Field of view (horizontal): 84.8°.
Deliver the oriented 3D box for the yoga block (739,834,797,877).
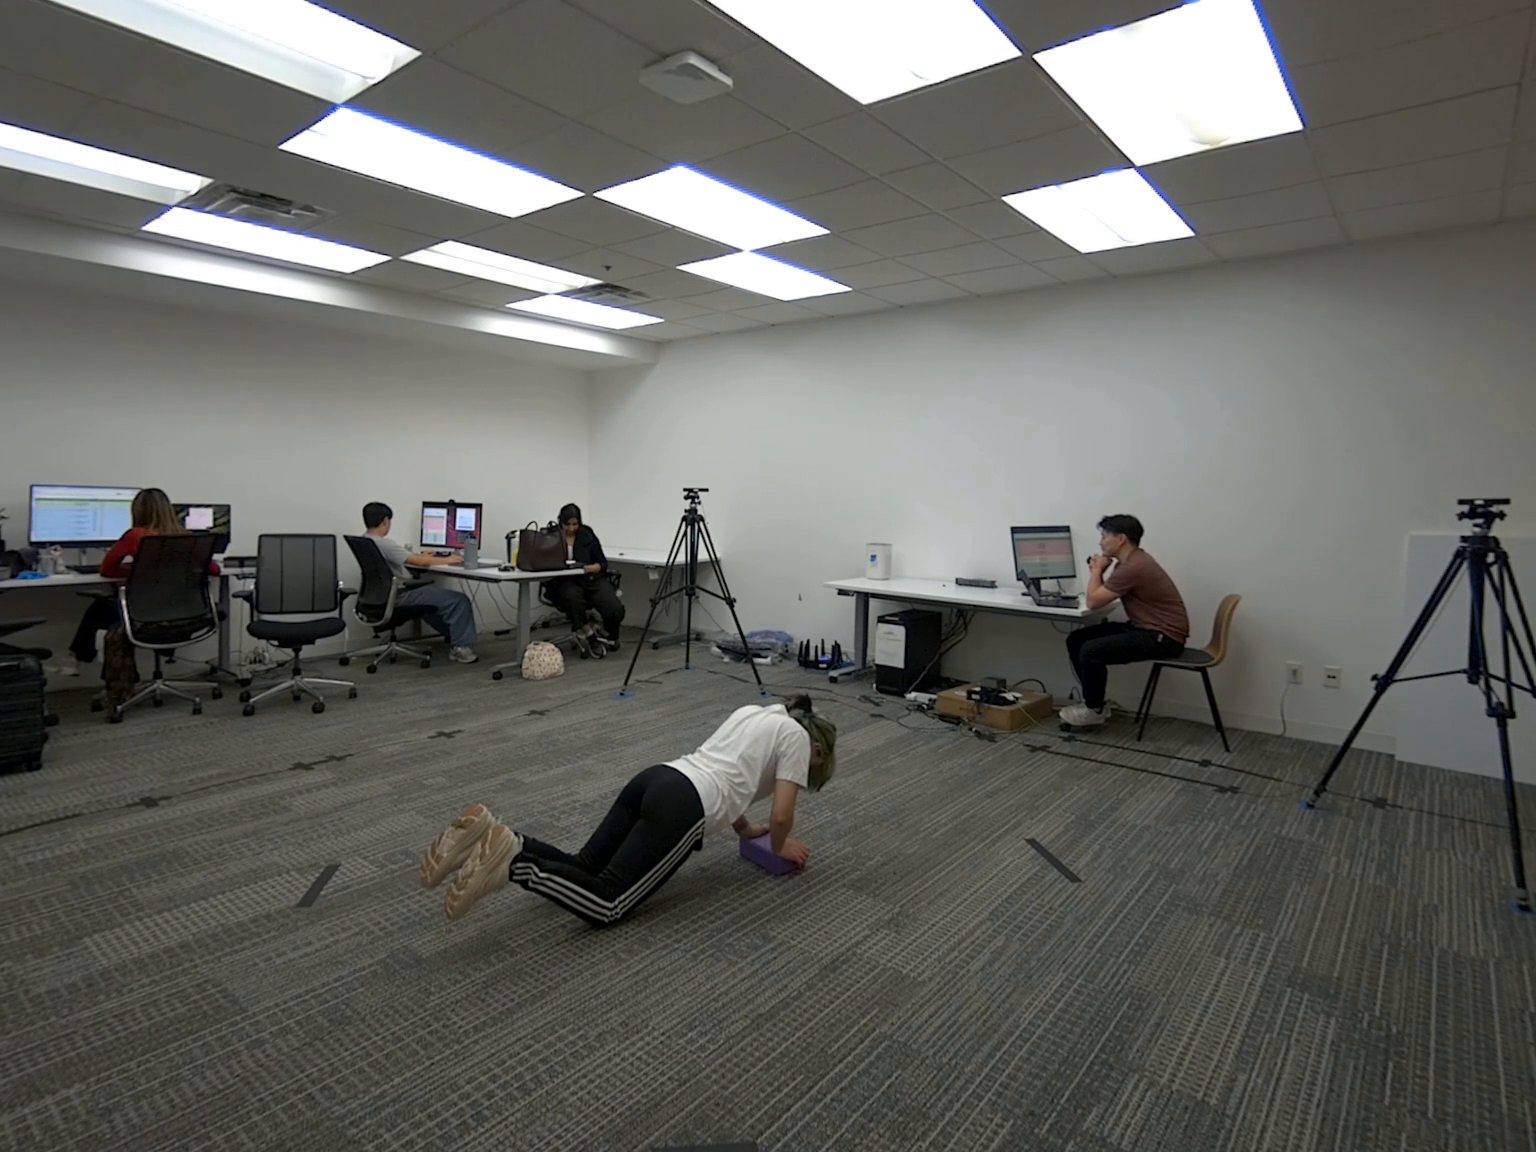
[{"bbox_3d":[0.006,1.031,3.190,0.144,0.076,0.237,-1,5,-38],"label":"yoga block"}]
